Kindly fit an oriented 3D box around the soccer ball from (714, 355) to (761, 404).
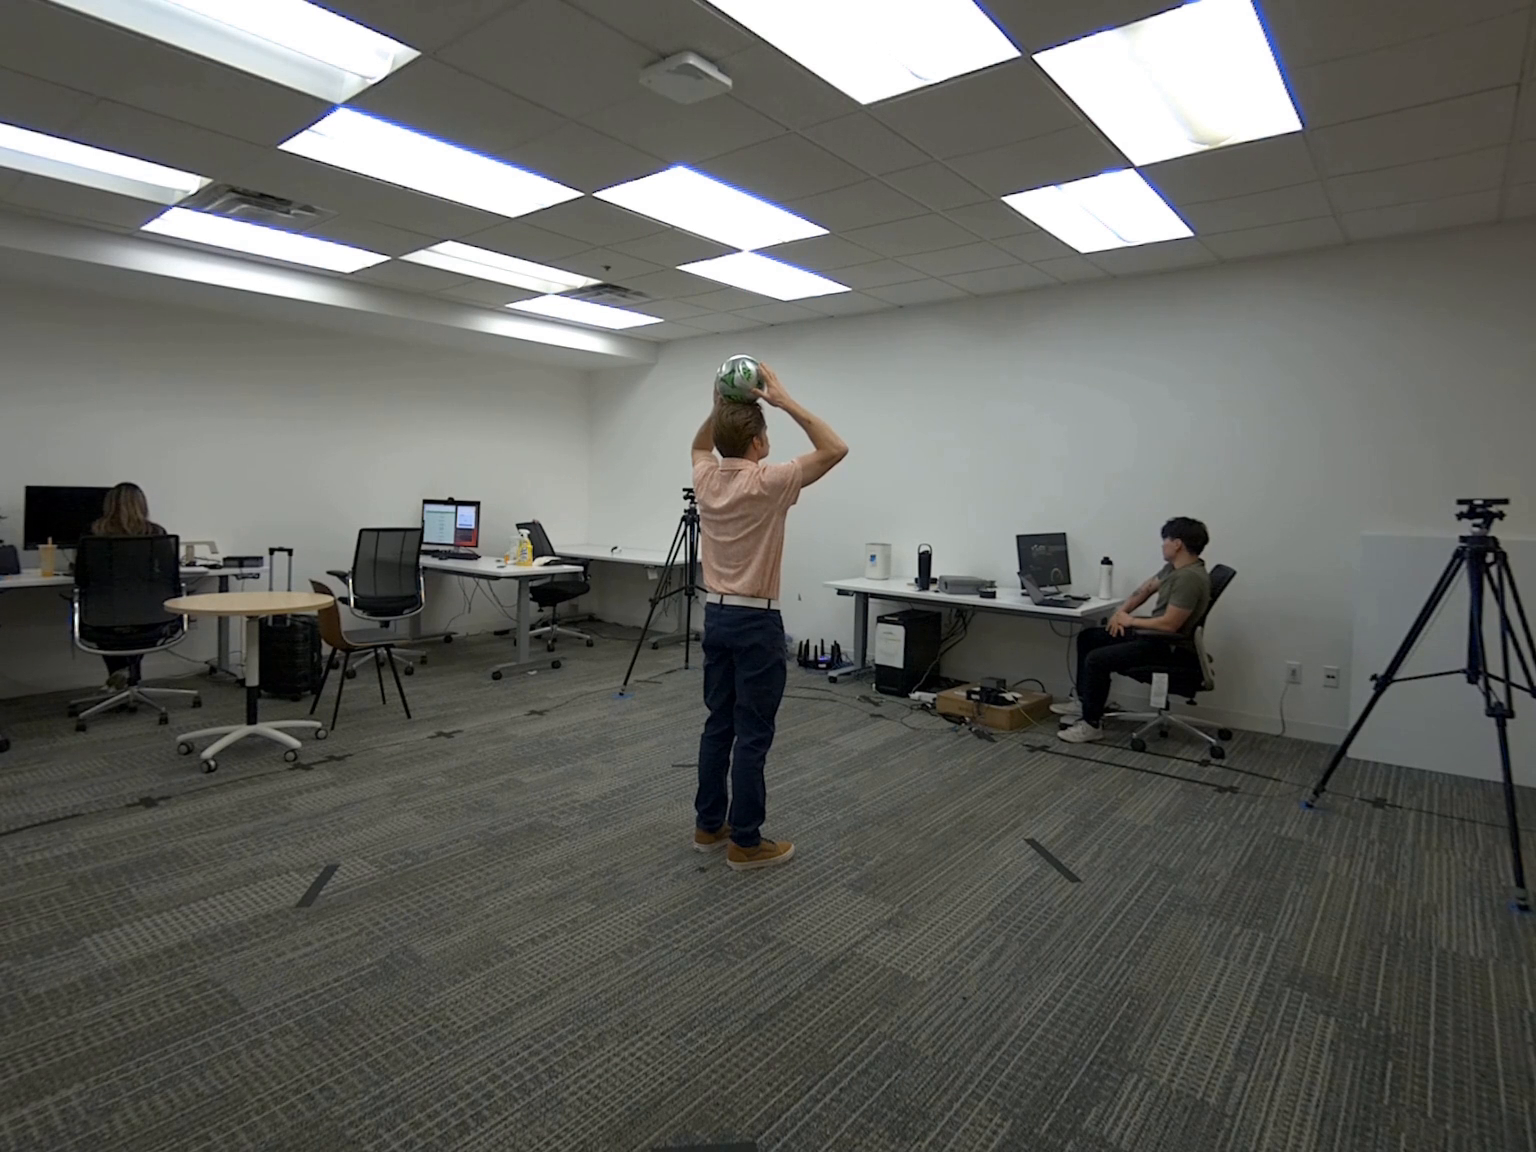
[{"bbox_3d":[-0.109,-0.726,3.159,0.187,0.187,0.188,1,4,-2],"label":"soccer ball"}]
